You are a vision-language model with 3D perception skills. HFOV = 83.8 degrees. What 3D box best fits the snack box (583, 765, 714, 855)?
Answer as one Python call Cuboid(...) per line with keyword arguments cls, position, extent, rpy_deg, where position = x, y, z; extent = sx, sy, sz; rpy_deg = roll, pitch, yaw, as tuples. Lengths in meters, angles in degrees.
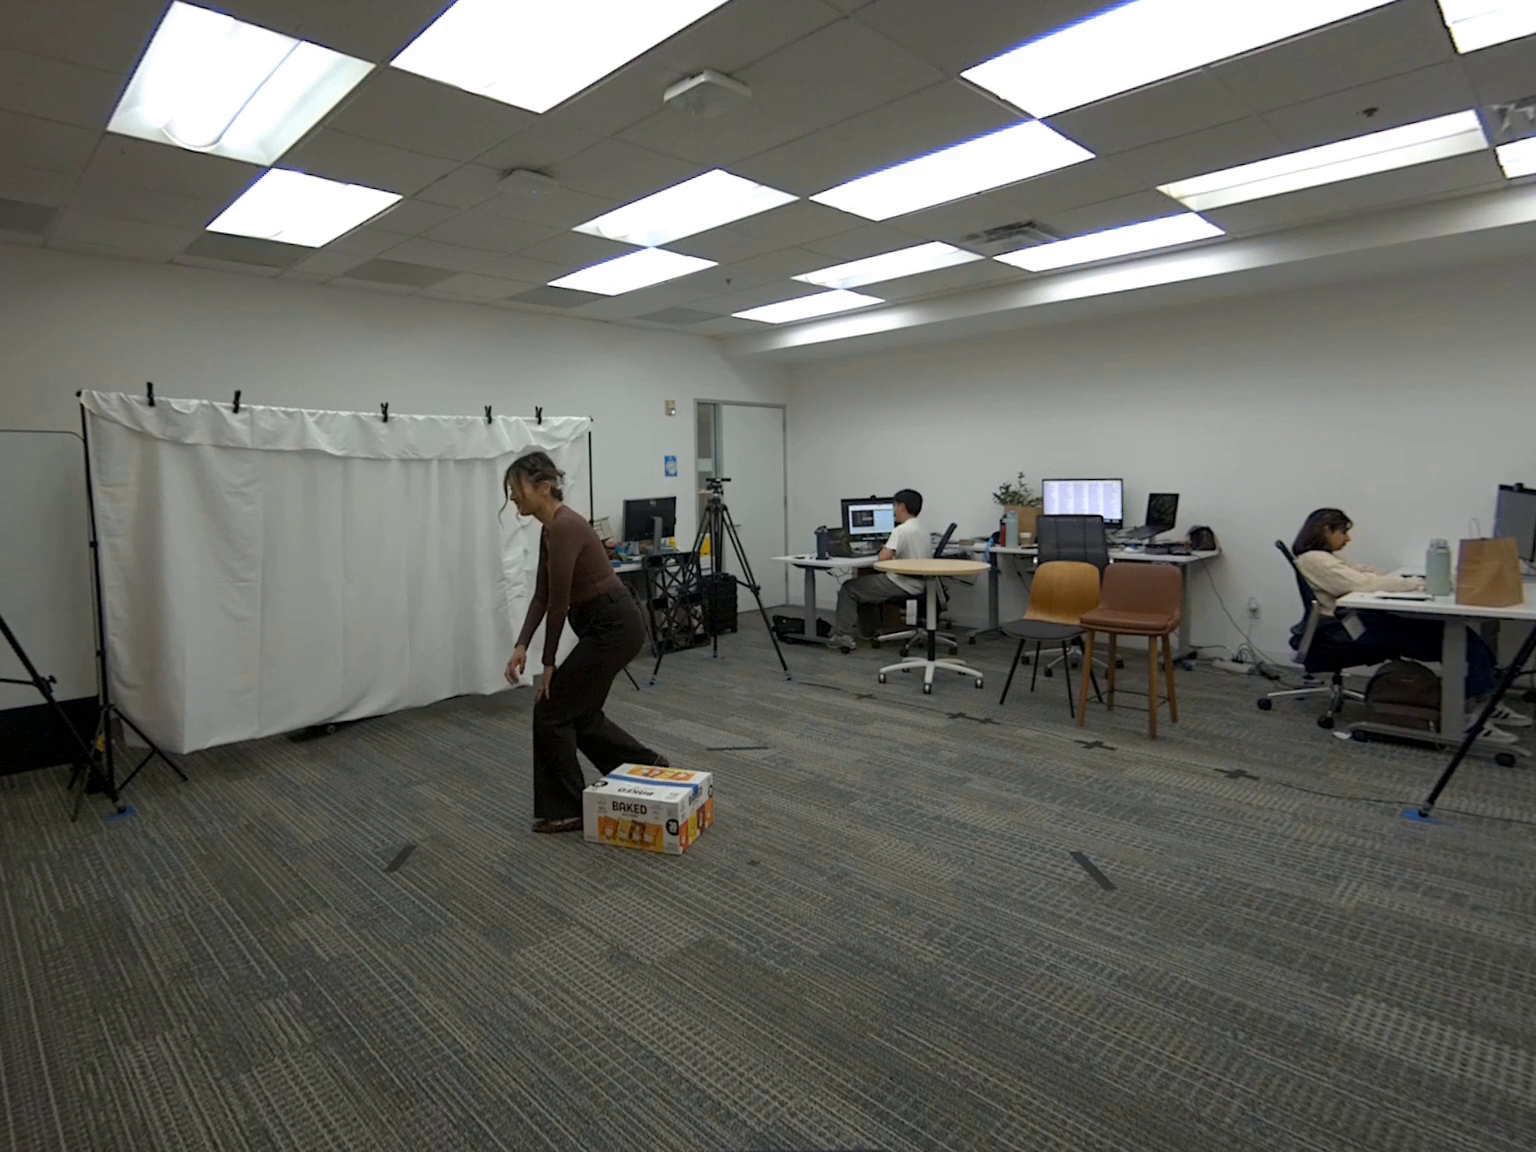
Cuboid(cls="snack box", position=(-0.469, 0.914, 3.390), extent=(0.413, 0.205, 0.335), rpy_deg=(1, 6, 20))
